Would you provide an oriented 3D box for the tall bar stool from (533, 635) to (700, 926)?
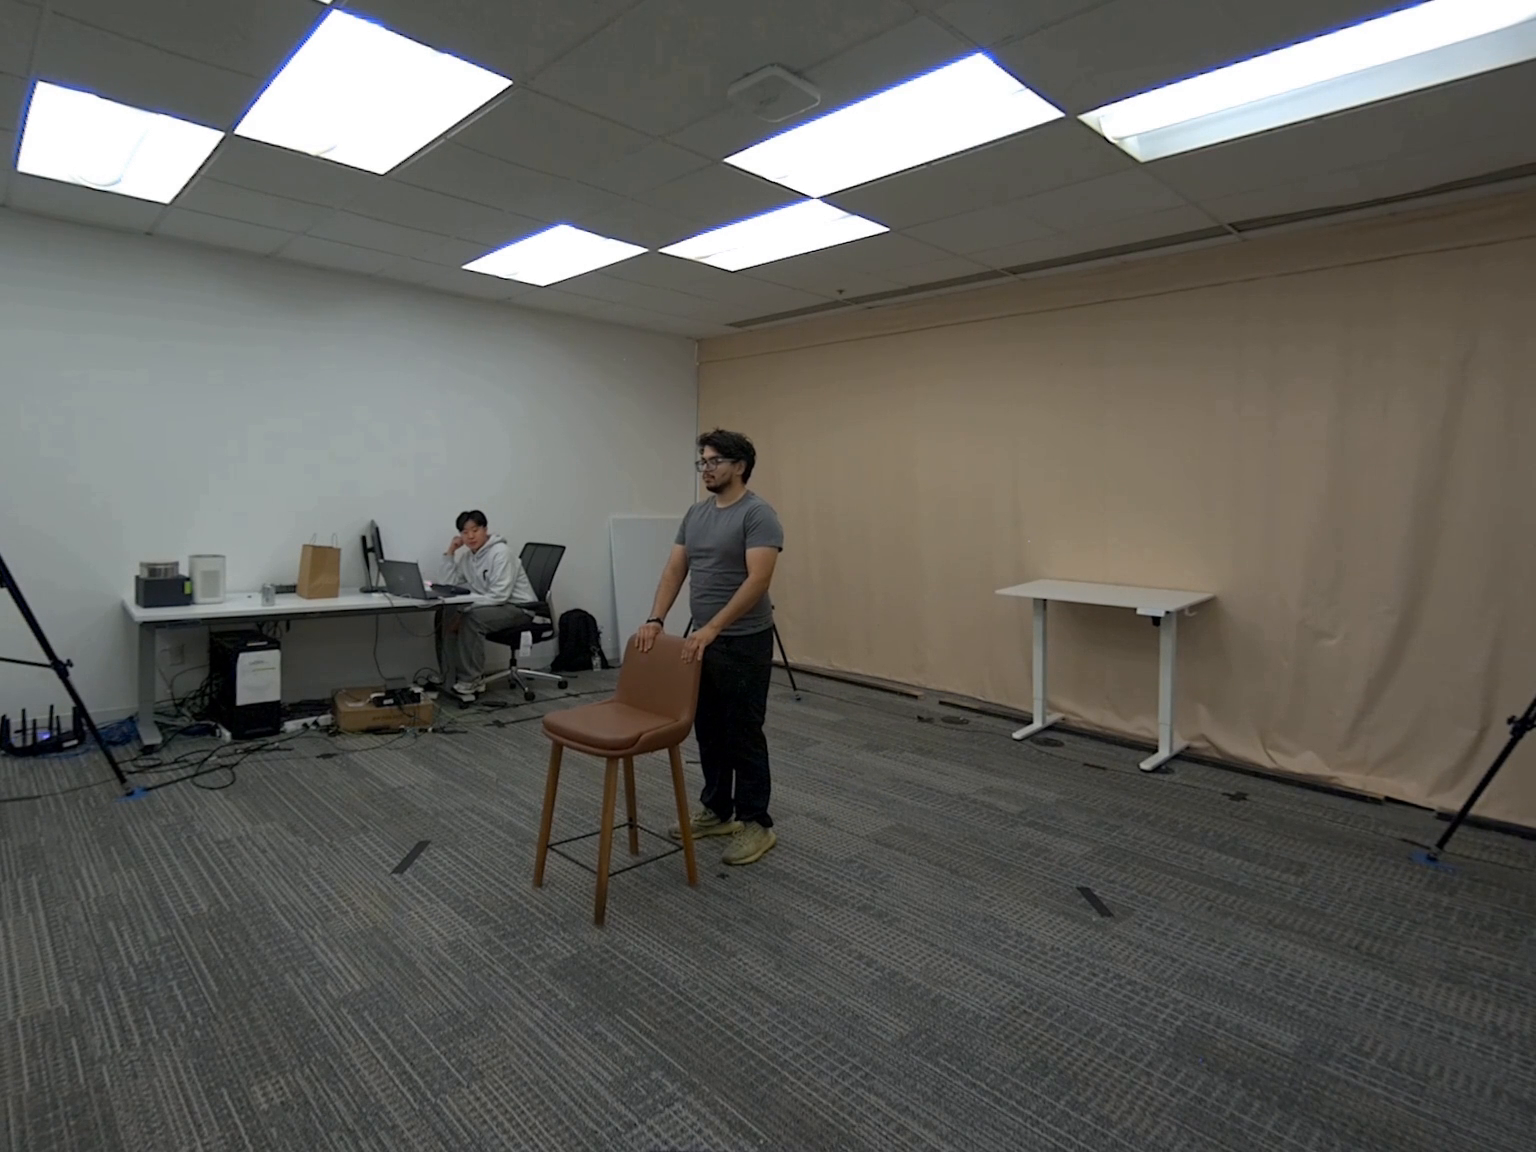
[{"bbox_3d":[-0.526,0.670,2.990,0.456,0.889,0.468,1,2,-45],"label":"tall bar stool"}]
